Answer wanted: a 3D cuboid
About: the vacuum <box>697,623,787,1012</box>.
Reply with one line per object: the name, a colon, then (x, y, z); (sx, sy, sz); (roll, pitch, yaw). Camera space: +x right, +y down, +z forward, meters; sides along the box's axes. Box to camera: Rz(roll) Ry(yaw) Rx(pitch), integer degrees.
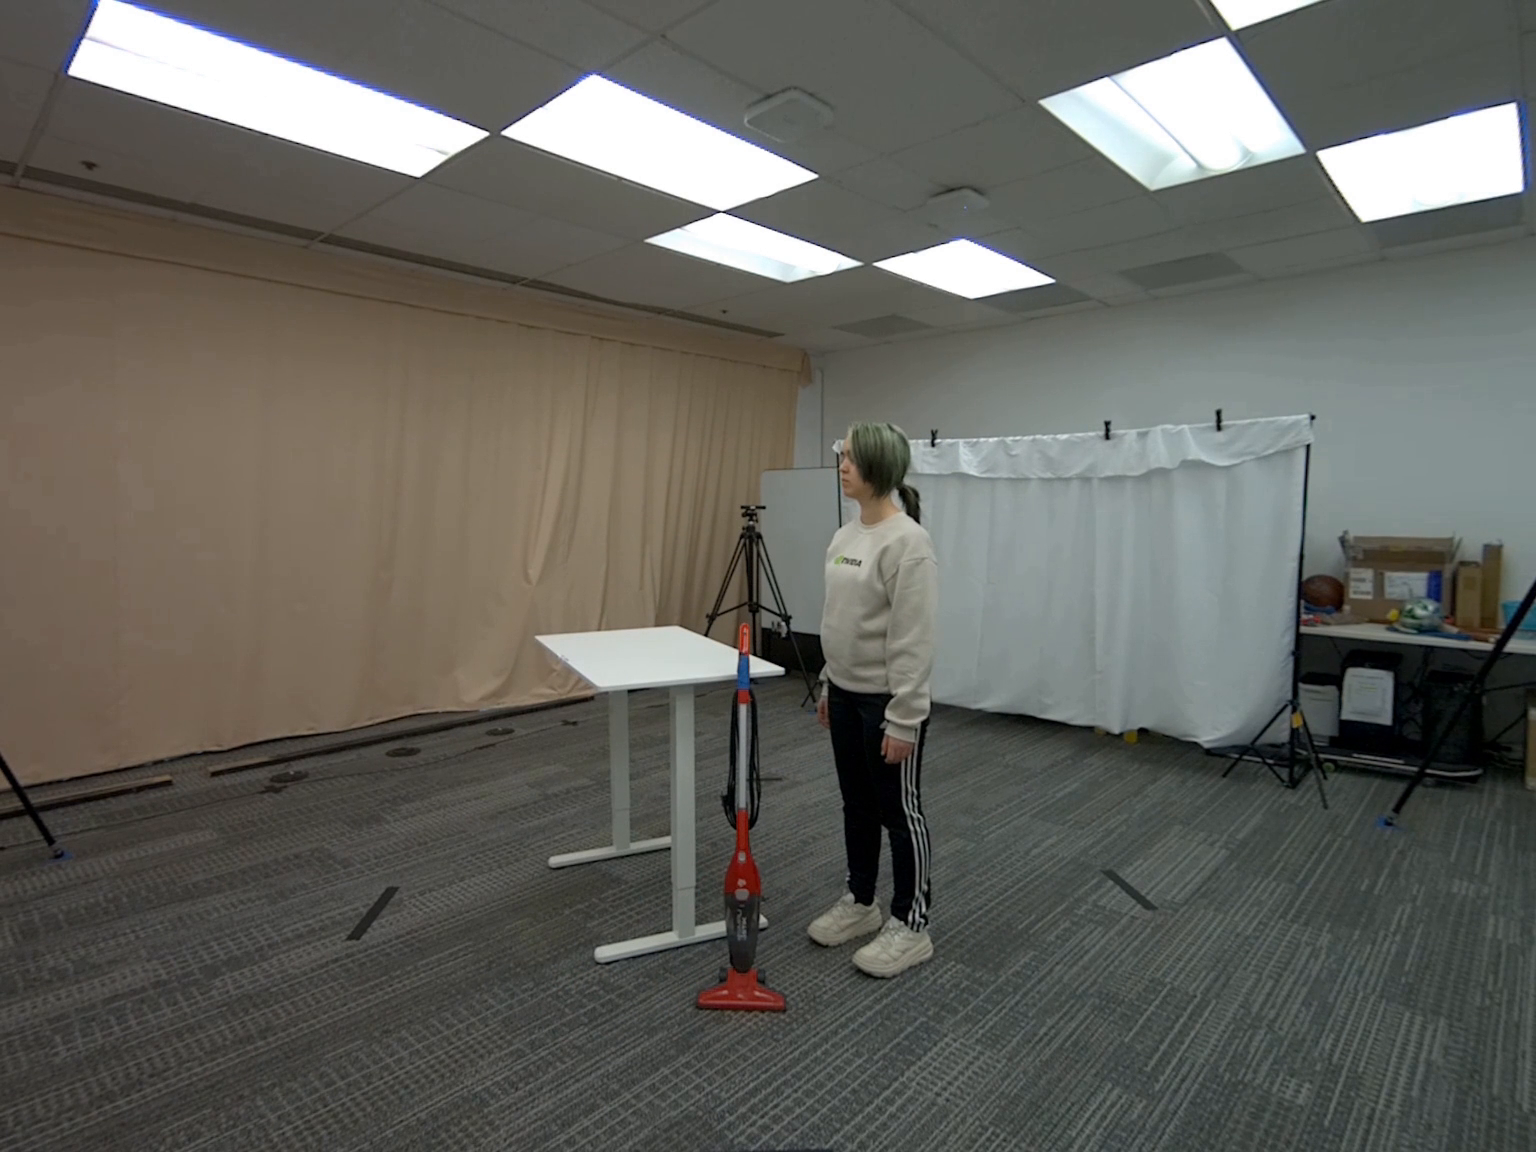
vacuum: (-0.066, 0.687, 2.487); (0.253, 1.056, 0.142); (0, -11, 2)
